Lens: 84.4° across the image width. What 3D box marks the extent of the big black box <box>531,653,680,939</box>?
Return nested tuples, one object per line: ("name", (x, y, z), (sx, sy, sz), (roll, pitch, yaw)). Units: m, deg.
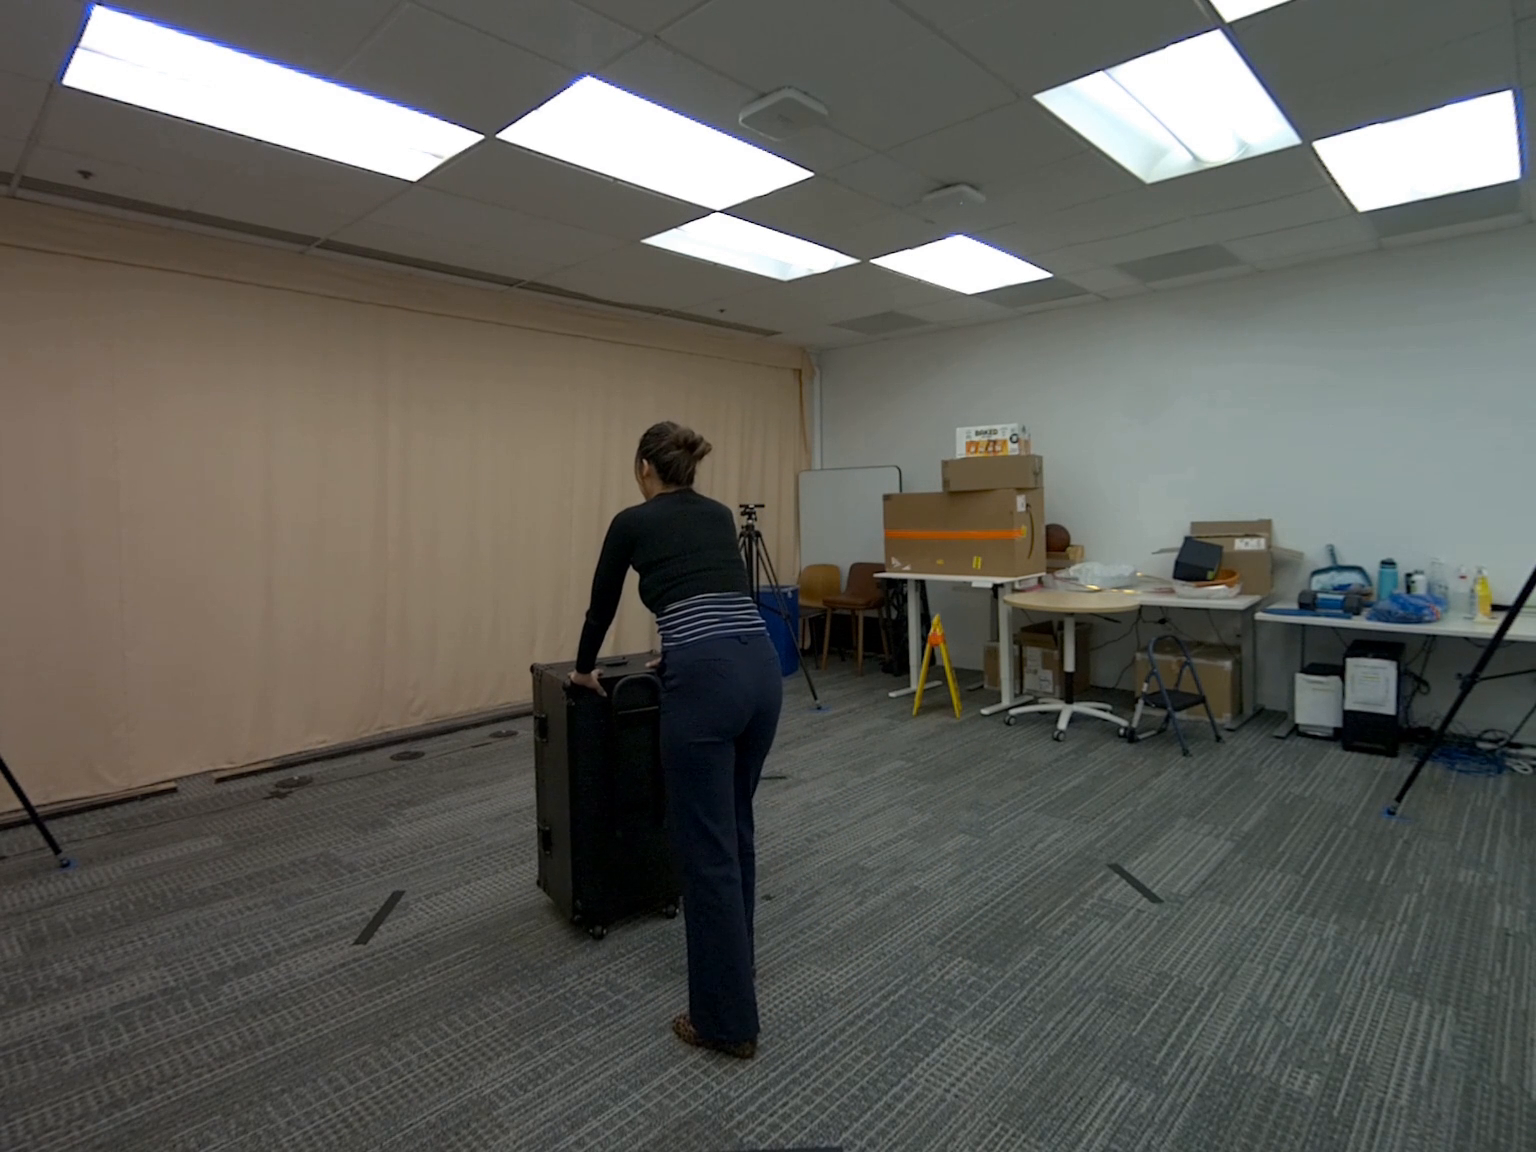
("big black box", (-0.507, 0.732, 2.907), (0.507, 0.859, 0.408), (-3, 4, -31))
